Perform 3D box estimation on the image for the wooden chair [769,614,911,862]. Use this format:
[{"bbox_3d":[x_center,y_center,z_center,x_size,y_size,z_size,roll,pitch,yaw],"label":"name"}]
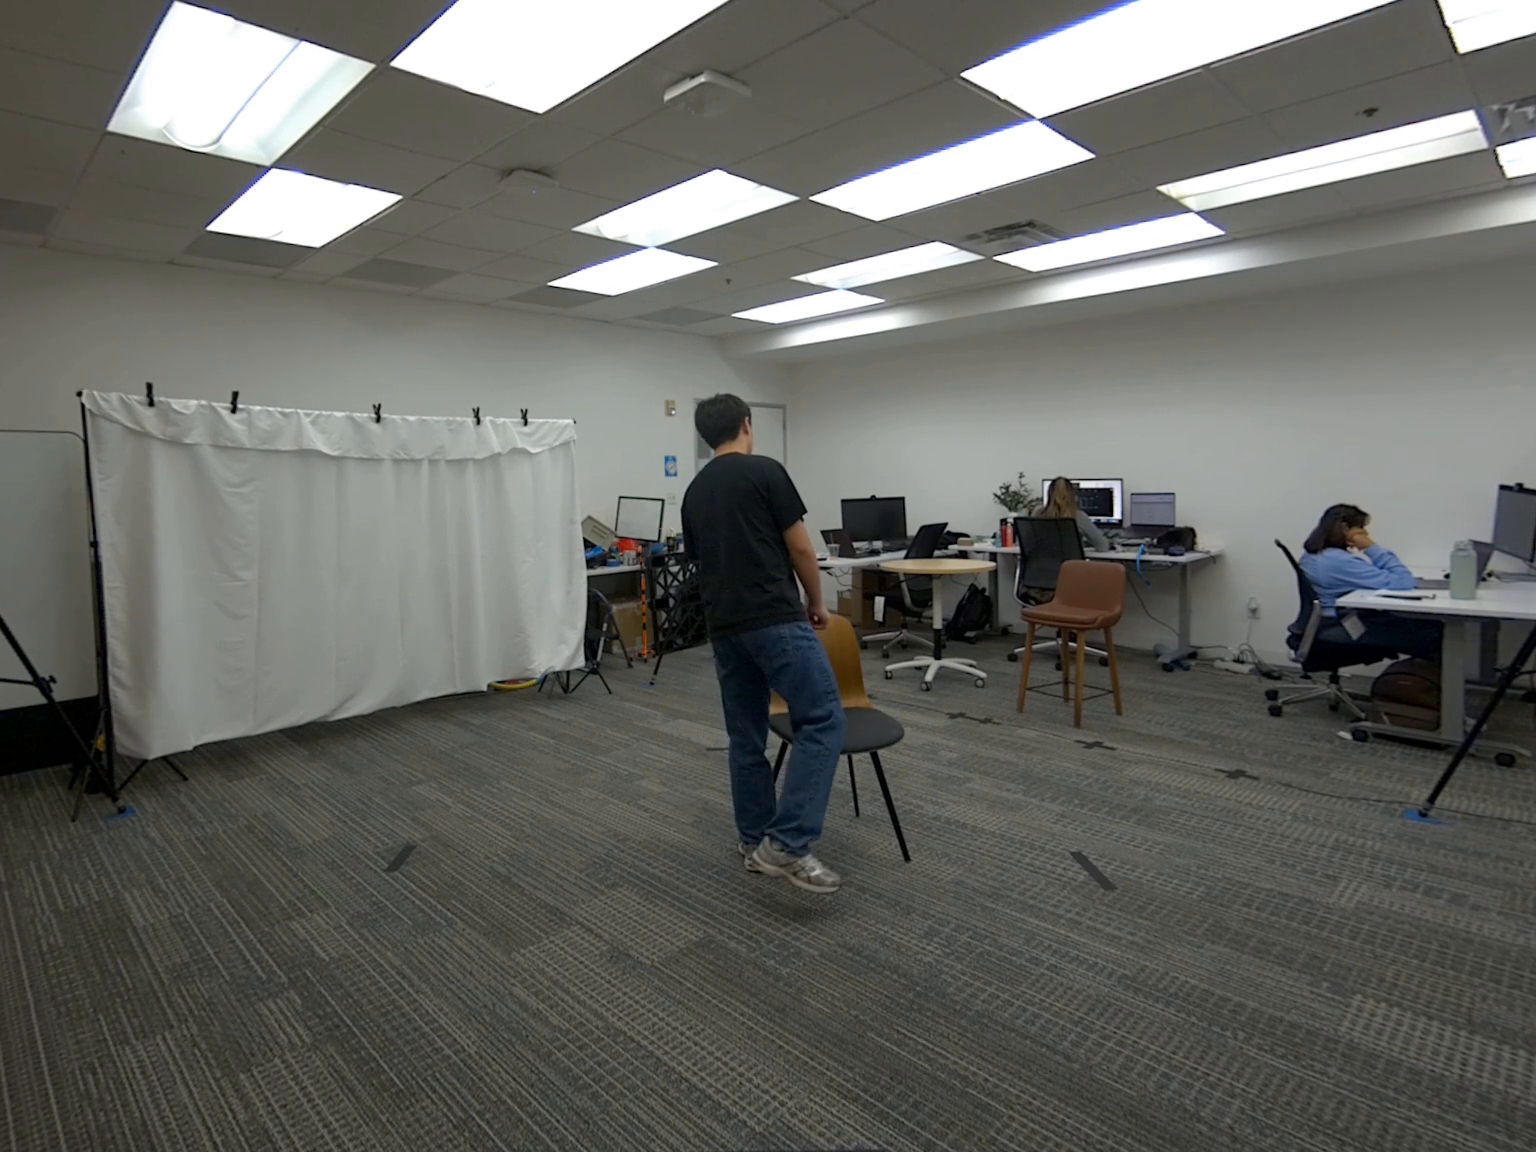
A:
[{"bbox_3d":[0.232,0.597,3.217,0.471,0.877,0.531,-2,0,-16],"label":"wooden chair"}]
